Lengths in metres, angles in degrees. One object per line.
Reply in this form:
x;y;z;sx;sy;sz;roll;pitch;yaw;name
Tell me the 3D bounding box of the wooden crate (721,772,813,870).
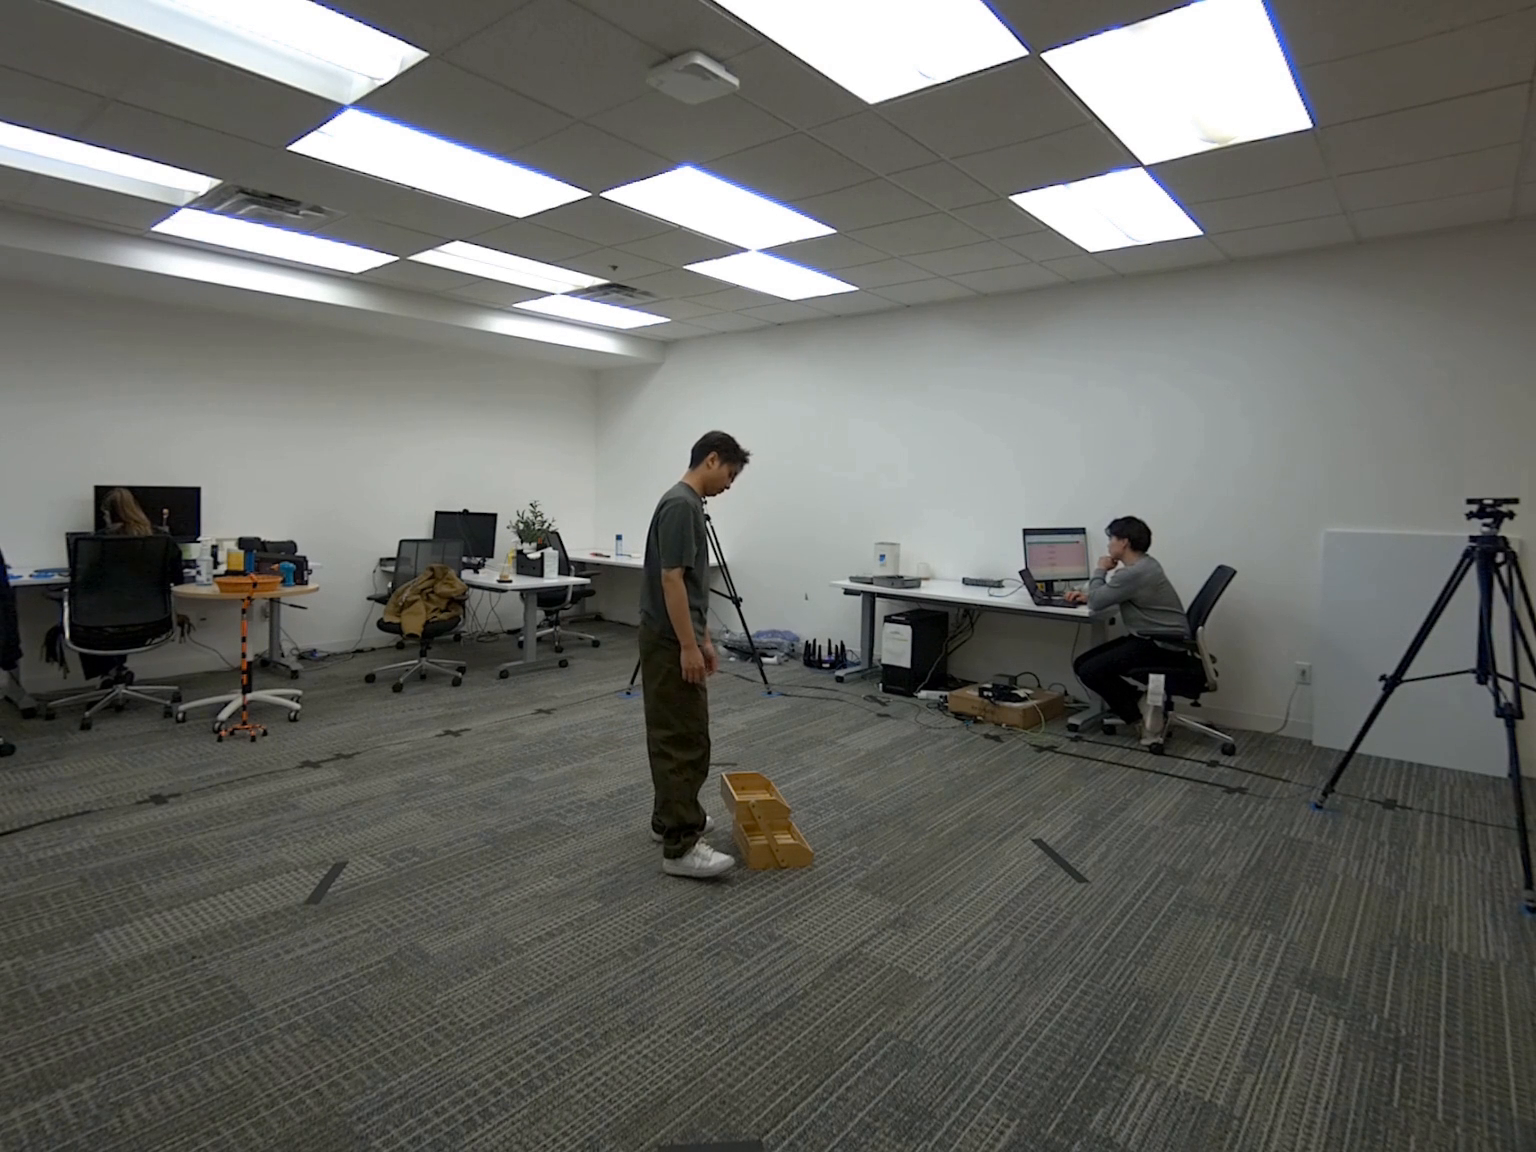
-0.012;0.927;3.271;0.298;0.272;0.330;0;4;-12;wooden crate
